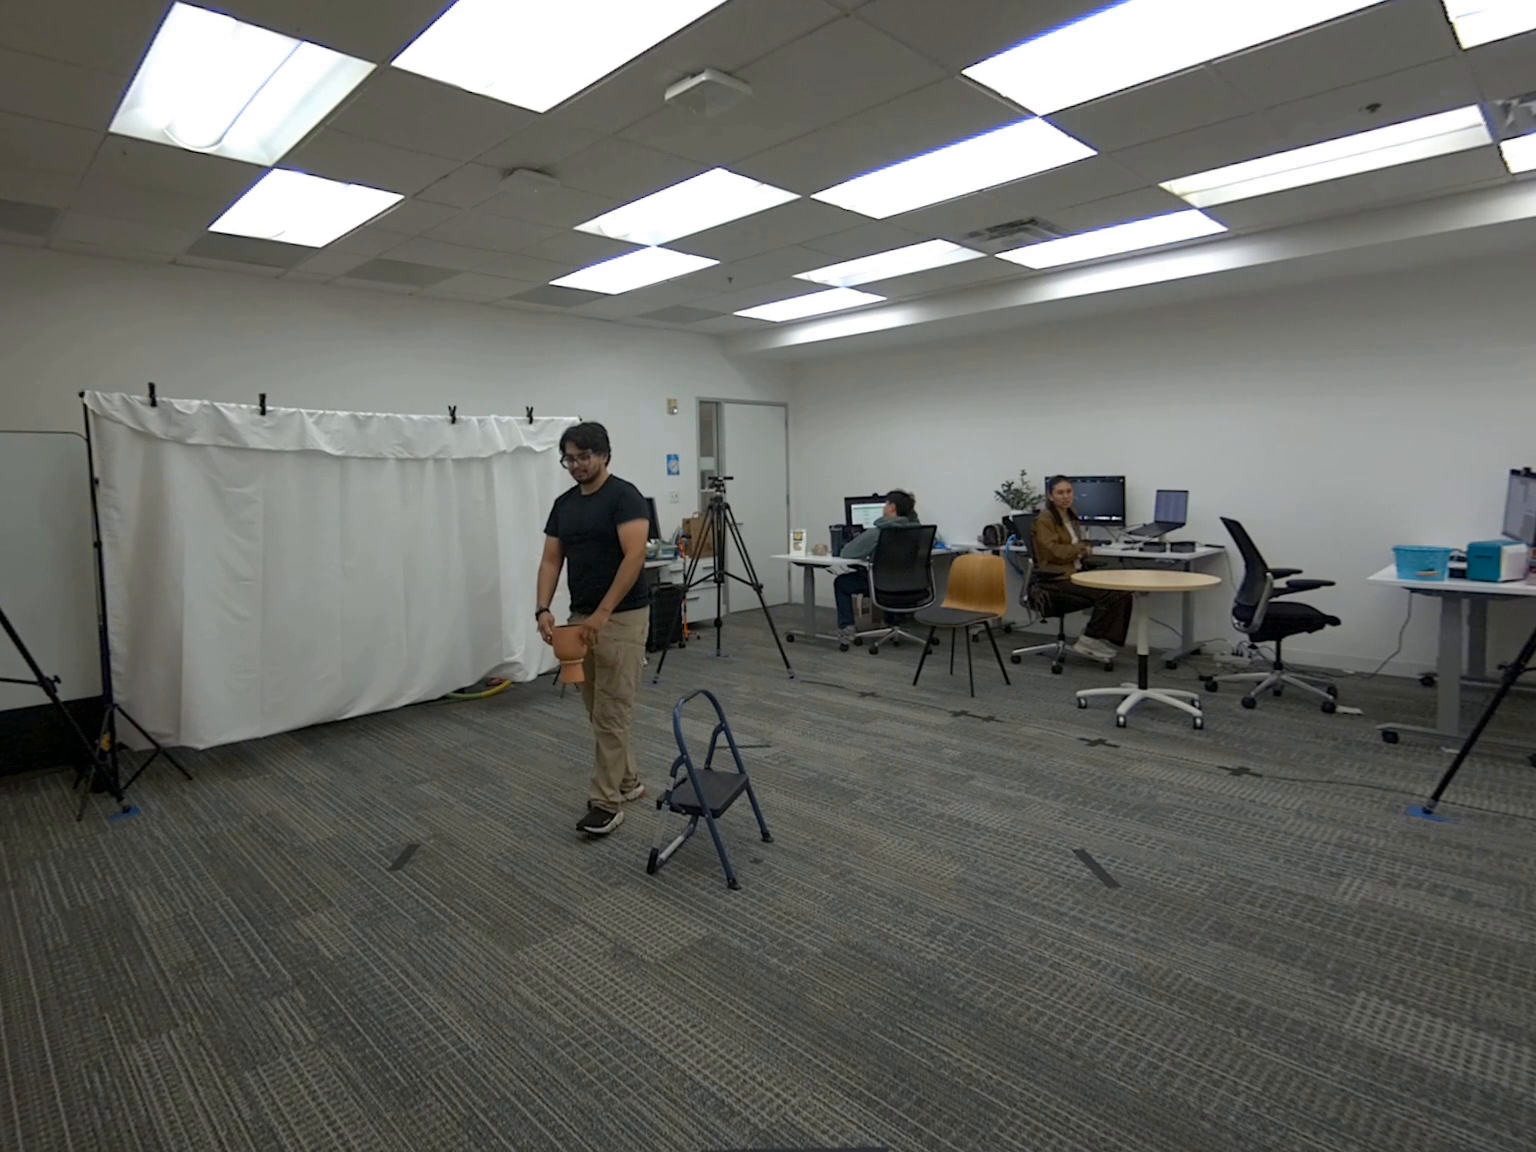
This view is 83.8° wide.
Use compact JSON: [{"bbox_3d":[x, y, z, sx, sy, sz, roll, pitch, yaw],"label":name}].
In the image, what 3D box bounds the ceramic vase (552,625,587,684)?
[{"bbox_3d":[-0.784,0.308,3.390,0.132,0.219,0.162,-6,3,-21],"label":"ceramic vase"}]
